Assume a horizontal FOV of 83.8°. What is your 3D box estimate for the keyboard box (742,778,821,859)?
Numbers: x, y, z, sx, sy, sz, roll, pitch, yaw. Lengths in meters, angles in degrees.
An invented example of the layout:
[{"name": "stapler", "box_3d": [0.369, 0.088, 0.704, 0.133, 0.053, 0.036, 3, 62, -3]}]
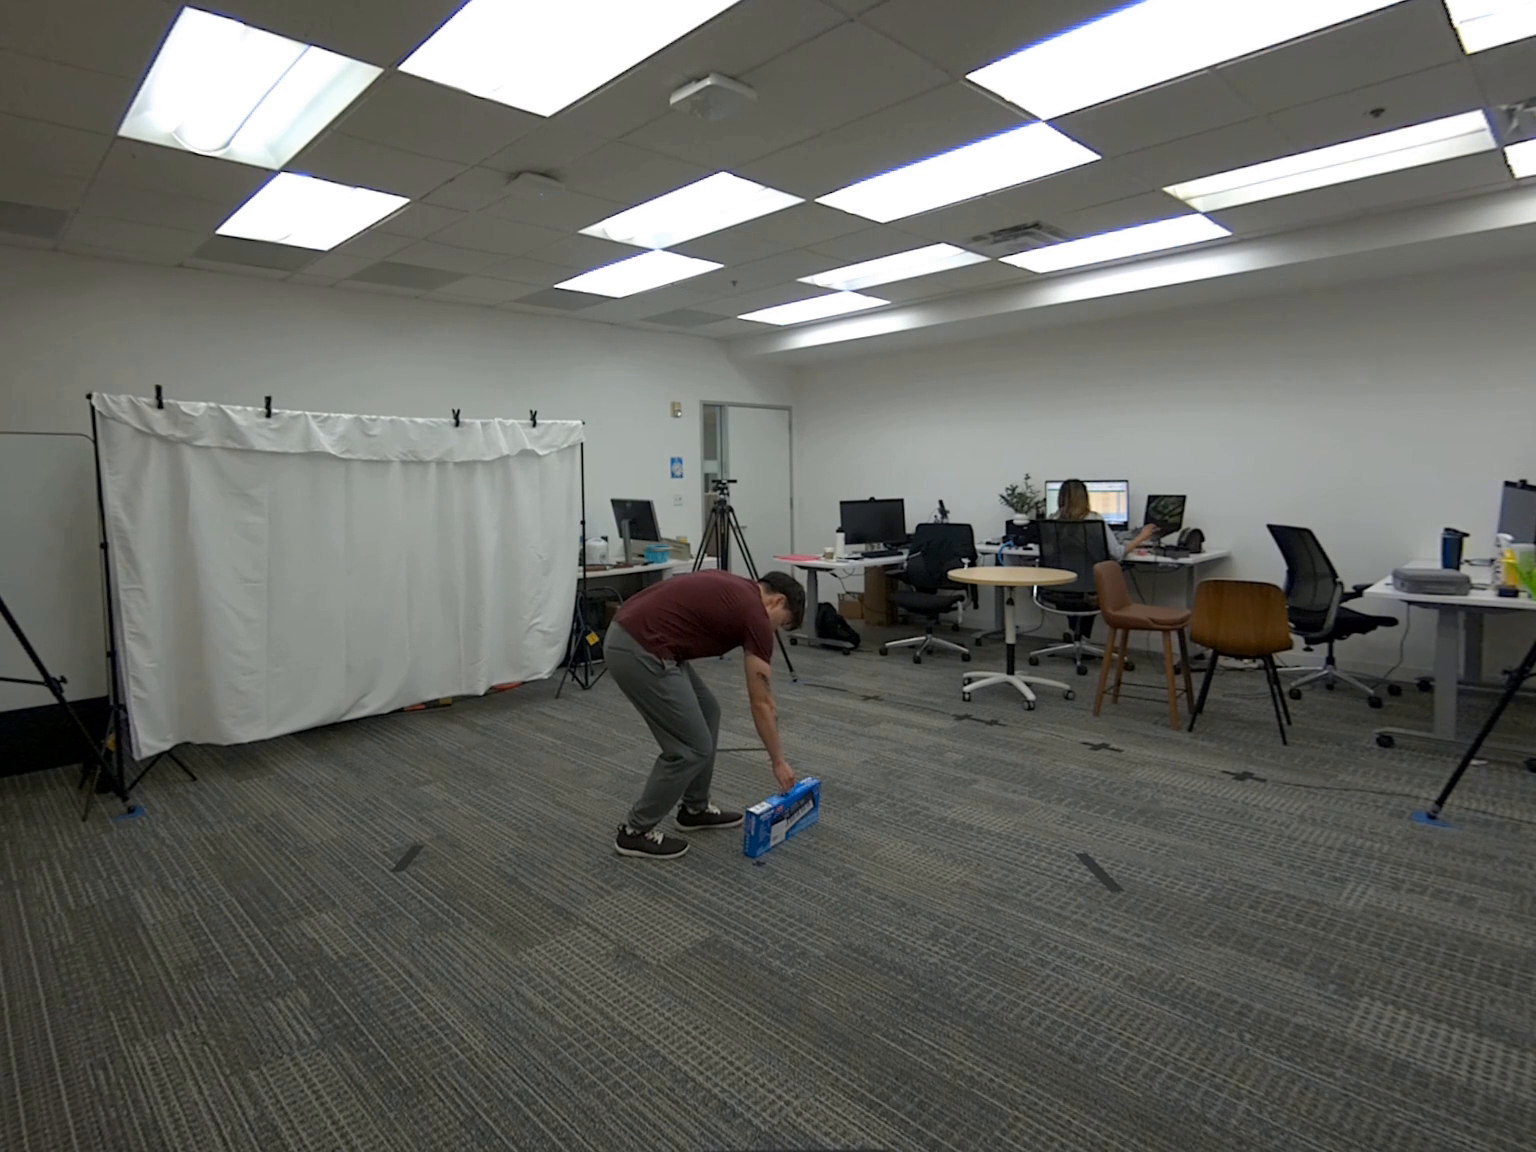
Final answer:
[{"name": "keyboard box", "box_3d": [0.059, 0.932, 3.325, 0.061, 0.175, 0.426, 10, 11, 35]}]
